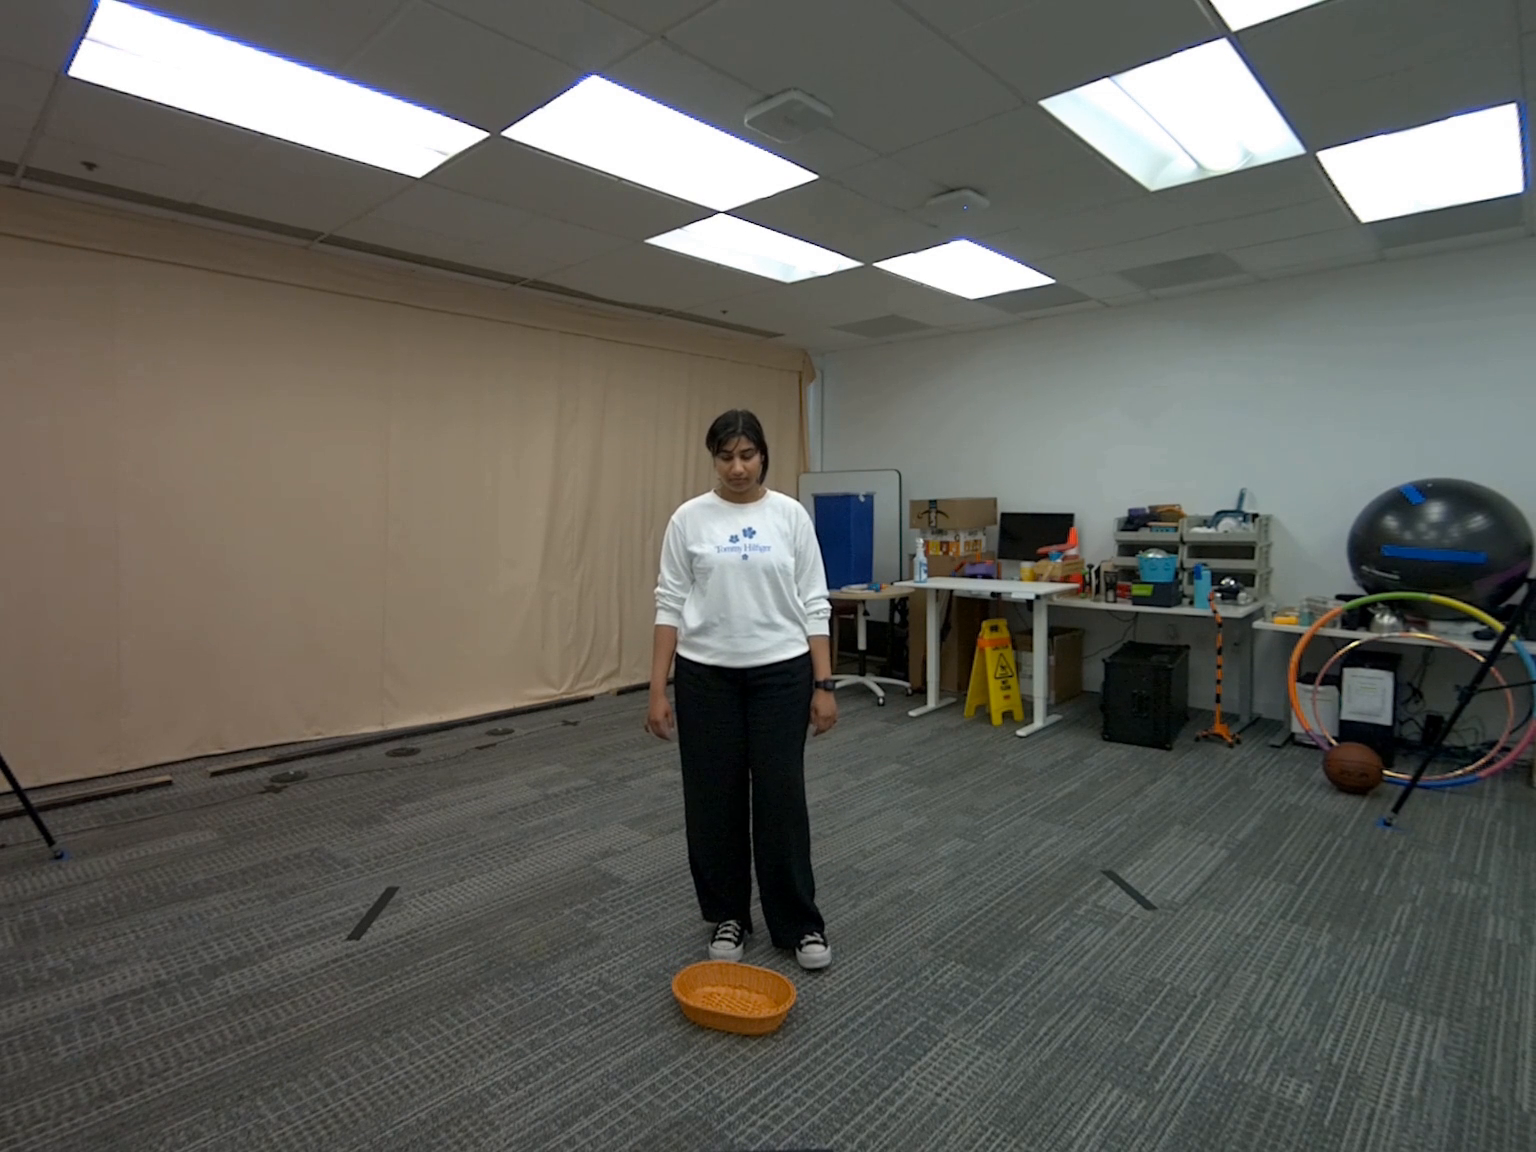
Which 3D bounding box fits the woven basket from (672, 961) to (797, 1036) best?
[{"bbox_3d":[-0.092,1.158,2.318,0.359,0.073,0.247,1,4,24],"label":"woven basket"}]
